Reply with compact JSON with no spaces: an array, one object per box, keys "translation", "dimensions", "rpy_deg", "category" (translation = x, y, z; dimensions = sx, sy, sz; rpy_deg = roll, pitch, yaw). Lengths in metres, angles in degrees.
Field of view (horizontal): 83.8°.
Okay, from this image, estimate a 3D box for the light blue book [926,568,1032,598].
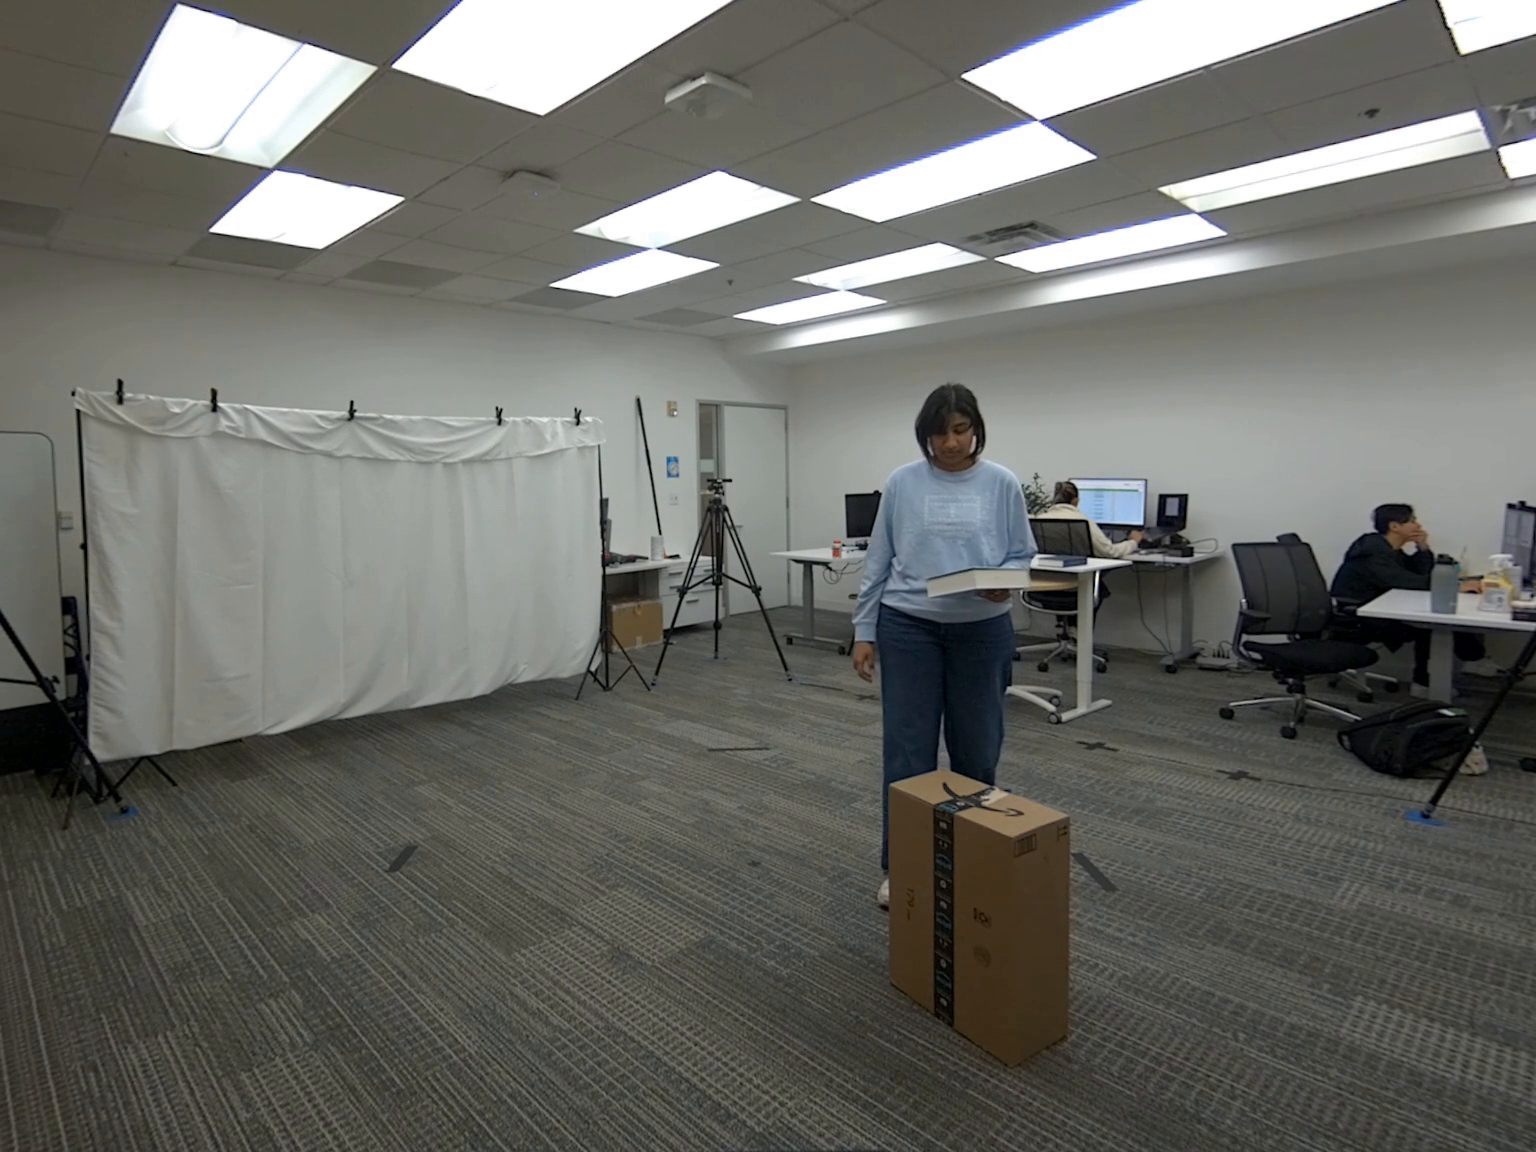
[{"translation":[0.627,0.025,2.538],"dimensions":[0.188,0.059,0.263],"rpy_deg":[-1,-8,-19],"category":"light blue book"}]
